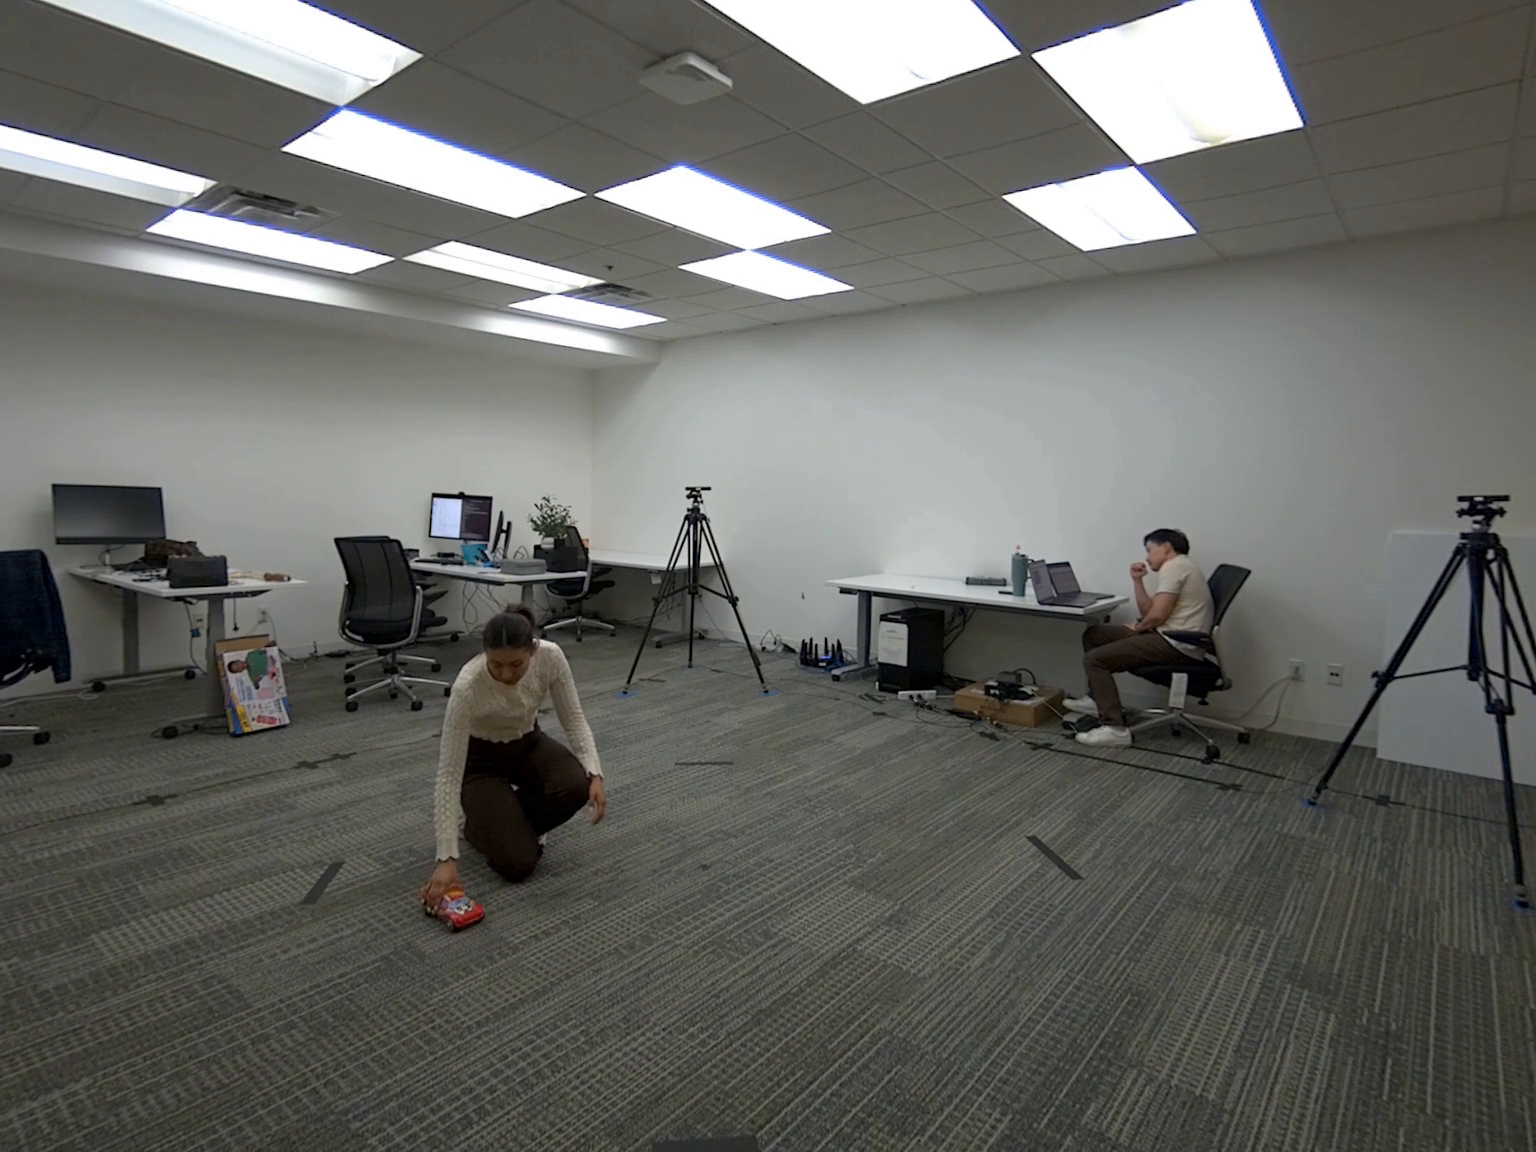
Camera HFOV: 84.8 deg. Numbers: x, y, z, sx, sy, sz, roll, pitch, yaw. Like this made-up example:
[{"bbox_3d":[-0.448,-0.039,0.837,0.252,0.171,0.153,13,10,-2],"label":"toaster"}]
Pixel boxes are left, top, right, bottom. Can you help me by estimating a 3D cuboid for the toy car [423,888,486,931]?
[{"bbox_3d":[-1.038,1.062,2.741,0.264,0.082,0.126,18,15,41],"label":"toy car"}]
